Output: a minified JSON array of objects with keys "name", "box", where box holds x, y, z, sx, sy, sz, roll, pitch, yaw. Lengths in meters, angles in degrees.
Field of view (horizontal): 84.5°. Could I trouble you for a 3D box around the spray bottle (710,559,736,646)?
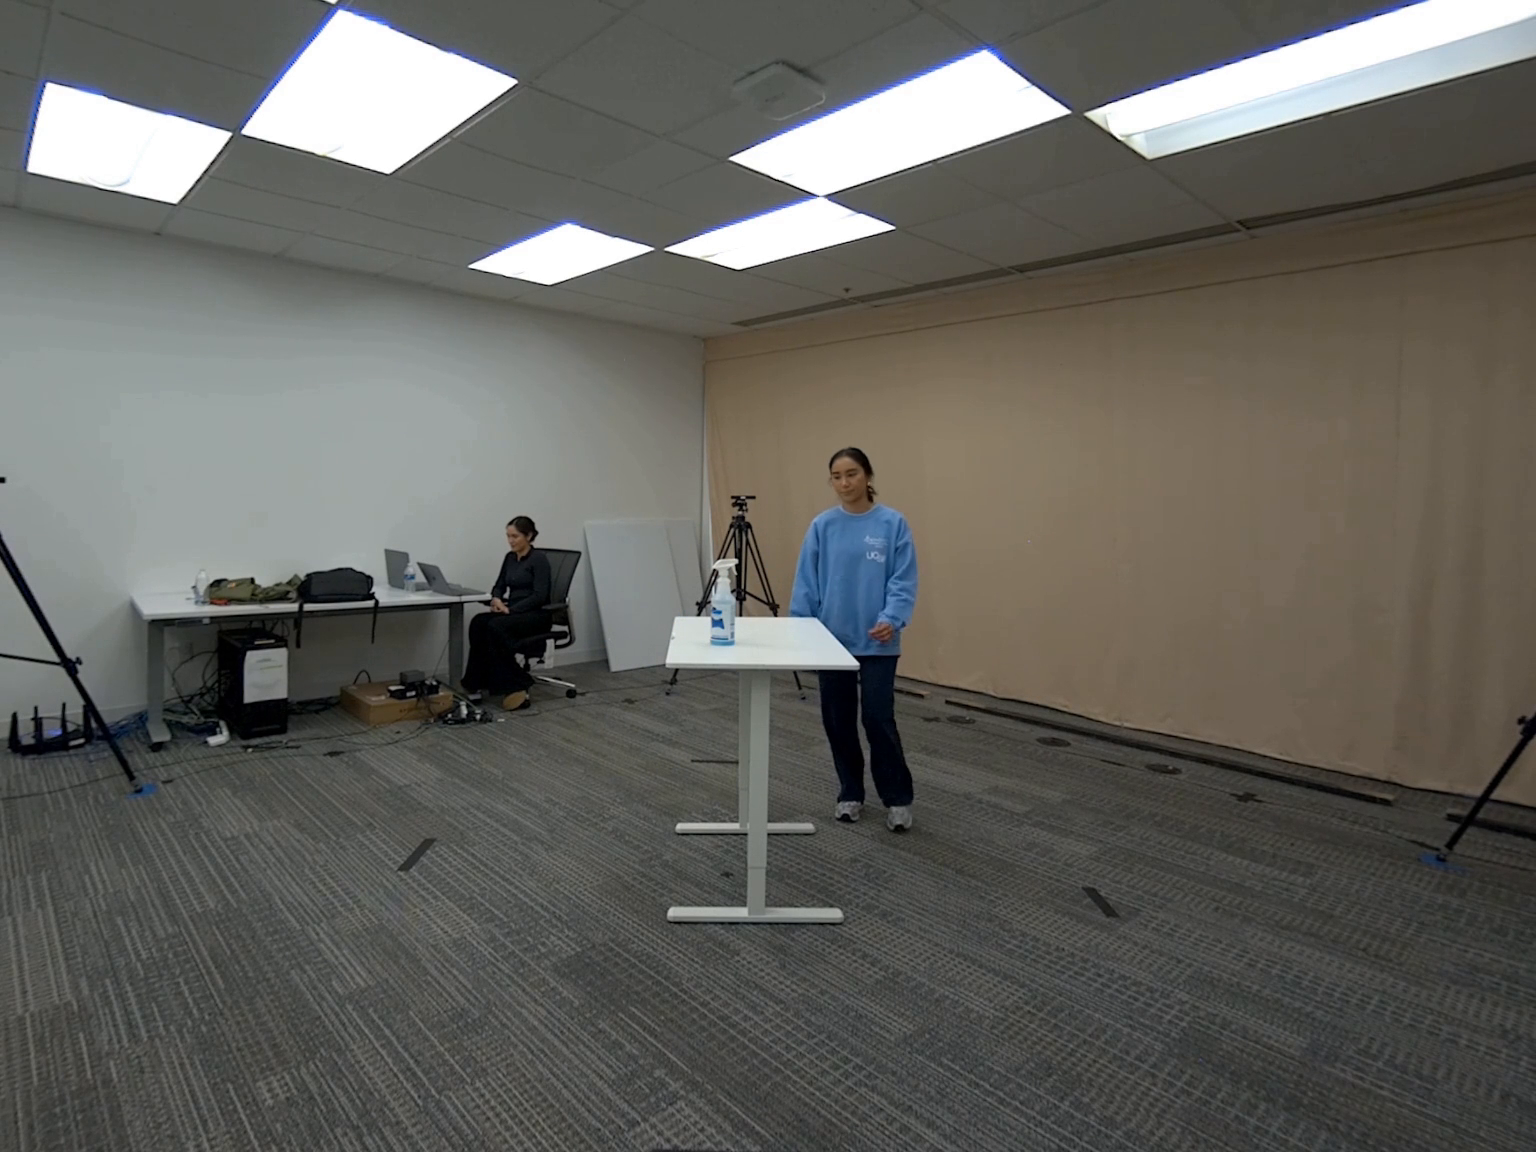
[{"name":"spray bottle","box":[-0.159,0.093,2.927,0.090,0.297,0.087,2,2,4]}]
